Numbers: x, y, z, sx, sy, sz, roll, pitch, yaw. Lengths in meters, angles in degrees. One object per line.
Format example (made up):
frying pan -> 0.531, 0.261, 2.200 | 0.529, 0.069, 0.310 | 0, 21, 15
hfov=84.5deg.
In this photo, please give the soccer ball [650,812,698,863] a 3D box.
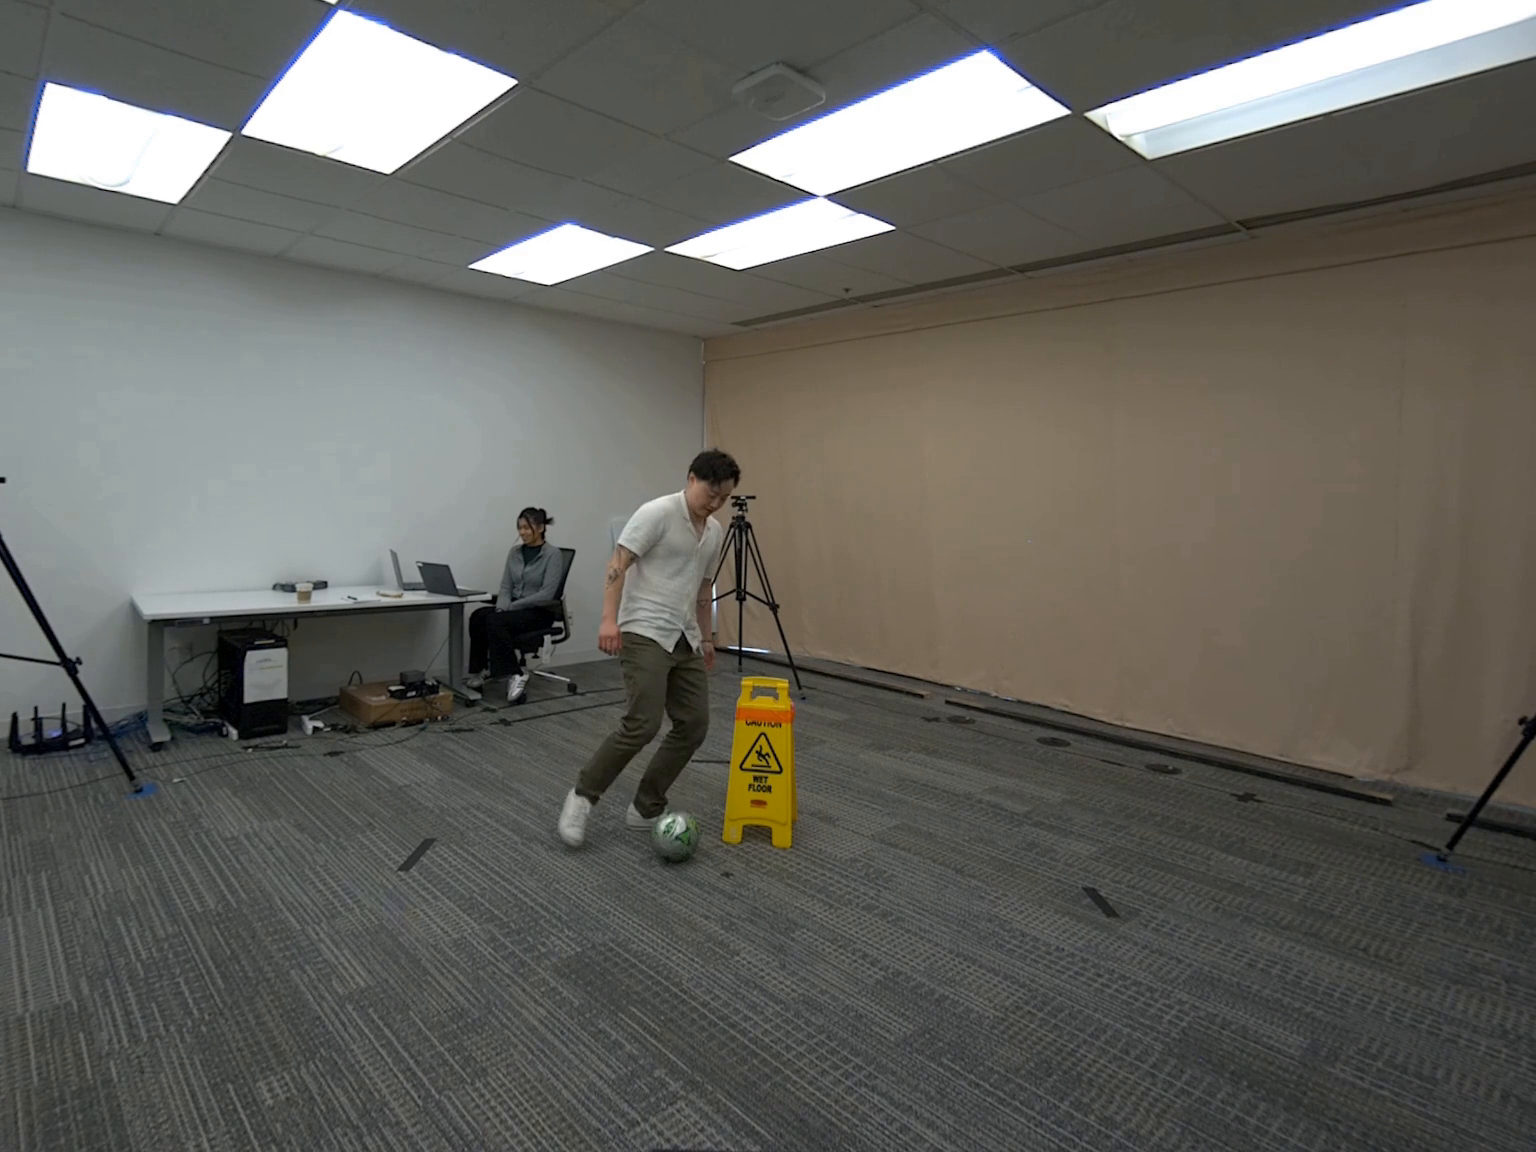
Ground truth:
soccer ball -> -0.353, 0.990, 3.222 | 0.187, 0.187, 0.188 | 1, 4, -1
